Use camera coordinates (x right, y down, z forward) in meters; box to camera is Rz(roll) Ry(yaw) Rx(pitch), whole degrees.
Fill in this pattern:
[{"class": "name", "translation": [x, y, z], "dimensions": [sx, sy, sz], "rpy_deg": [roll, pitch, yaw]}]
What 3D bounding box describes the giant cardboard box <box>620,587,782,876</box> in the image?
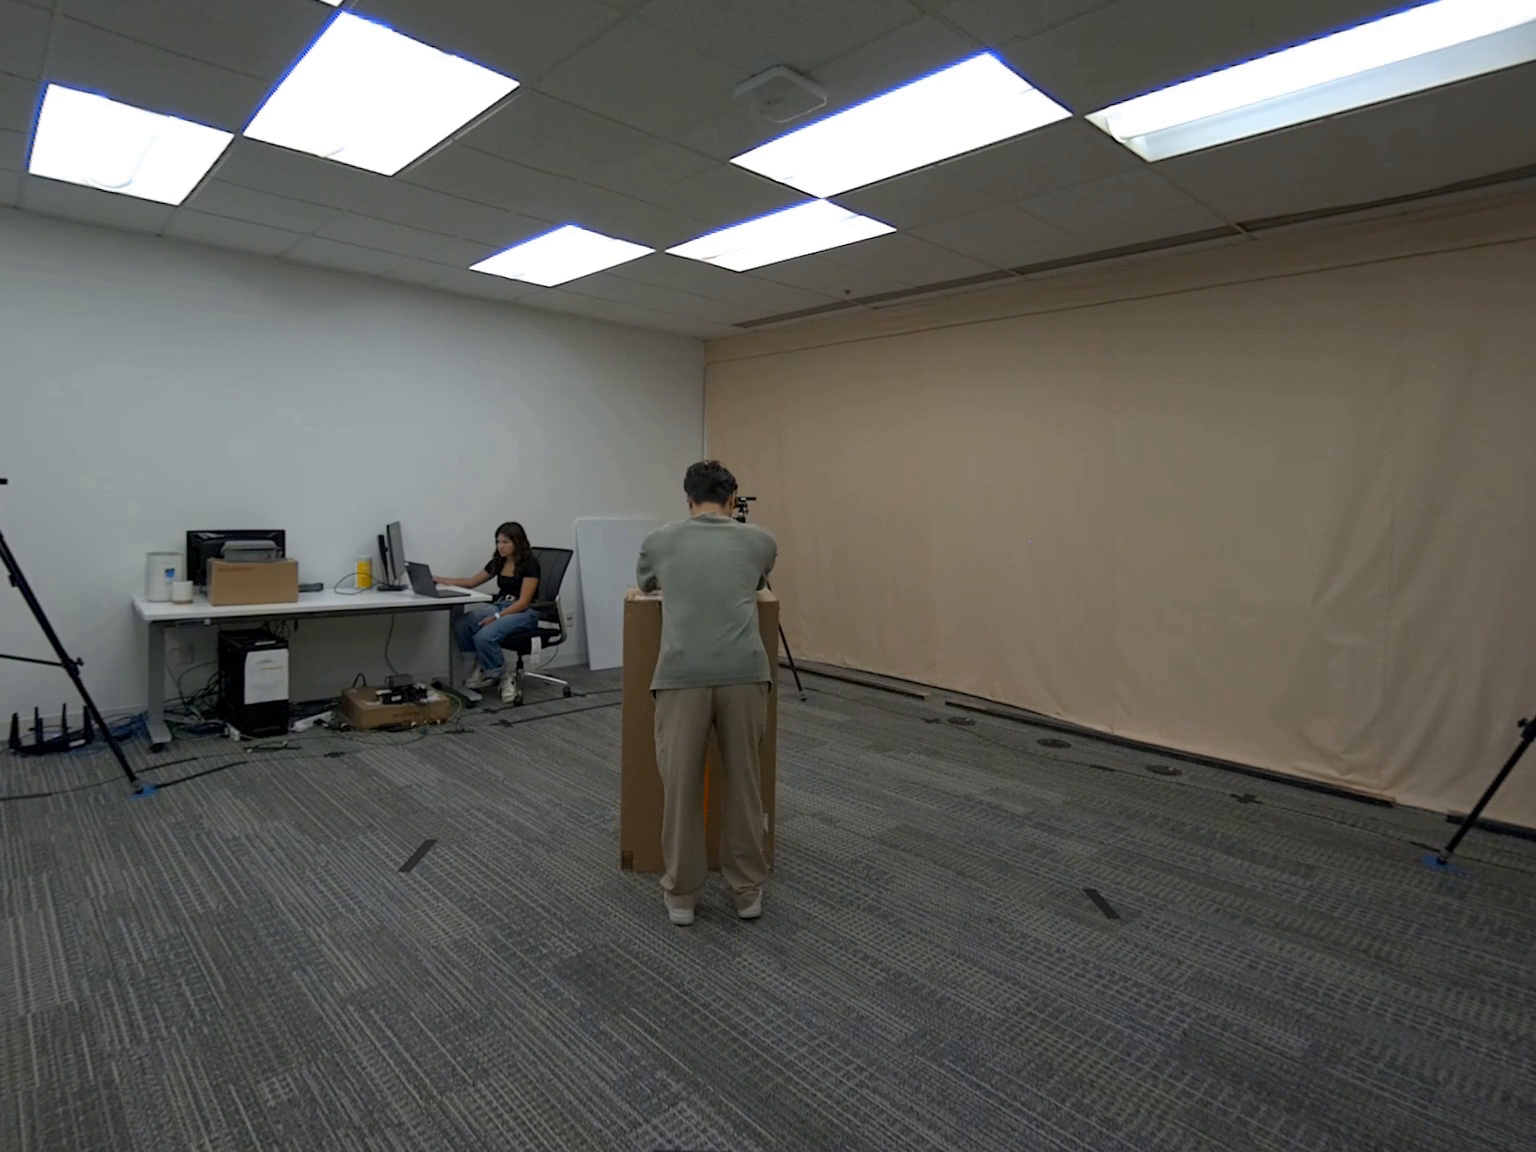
[{"class": "giant cardboard box", "translation": [-0.284, 0.574, 3.309], "dimensions": [0.575, 1.023, 0.429], "rpy_deg": [1, 4, -5]}]
